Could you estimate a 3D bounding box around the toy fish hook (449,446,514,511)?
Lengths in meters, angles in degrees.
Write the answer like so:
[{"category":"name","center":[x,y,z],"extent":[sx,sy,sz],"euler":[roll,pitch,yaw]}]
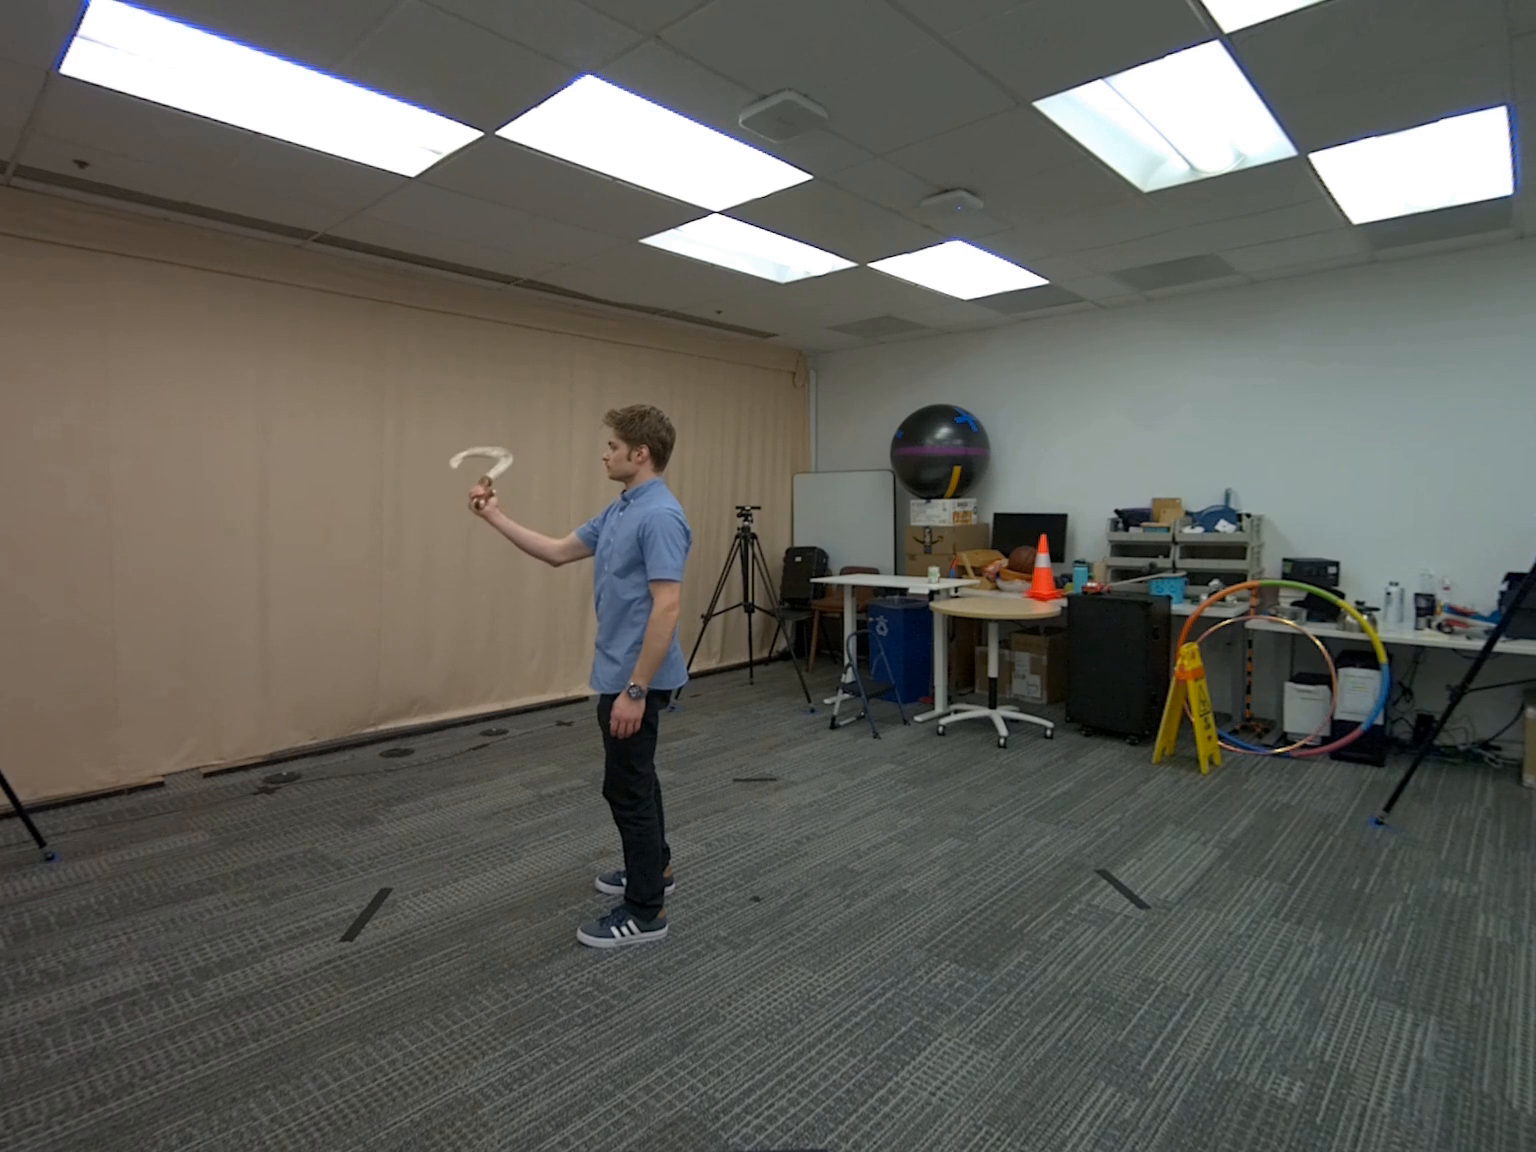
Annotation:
[{"category":"toy fish hook","center":[-1.041,-0.351,3.030],"extent":[0.223,0.047,0.517],"euler":[-3,30,-5]}]
